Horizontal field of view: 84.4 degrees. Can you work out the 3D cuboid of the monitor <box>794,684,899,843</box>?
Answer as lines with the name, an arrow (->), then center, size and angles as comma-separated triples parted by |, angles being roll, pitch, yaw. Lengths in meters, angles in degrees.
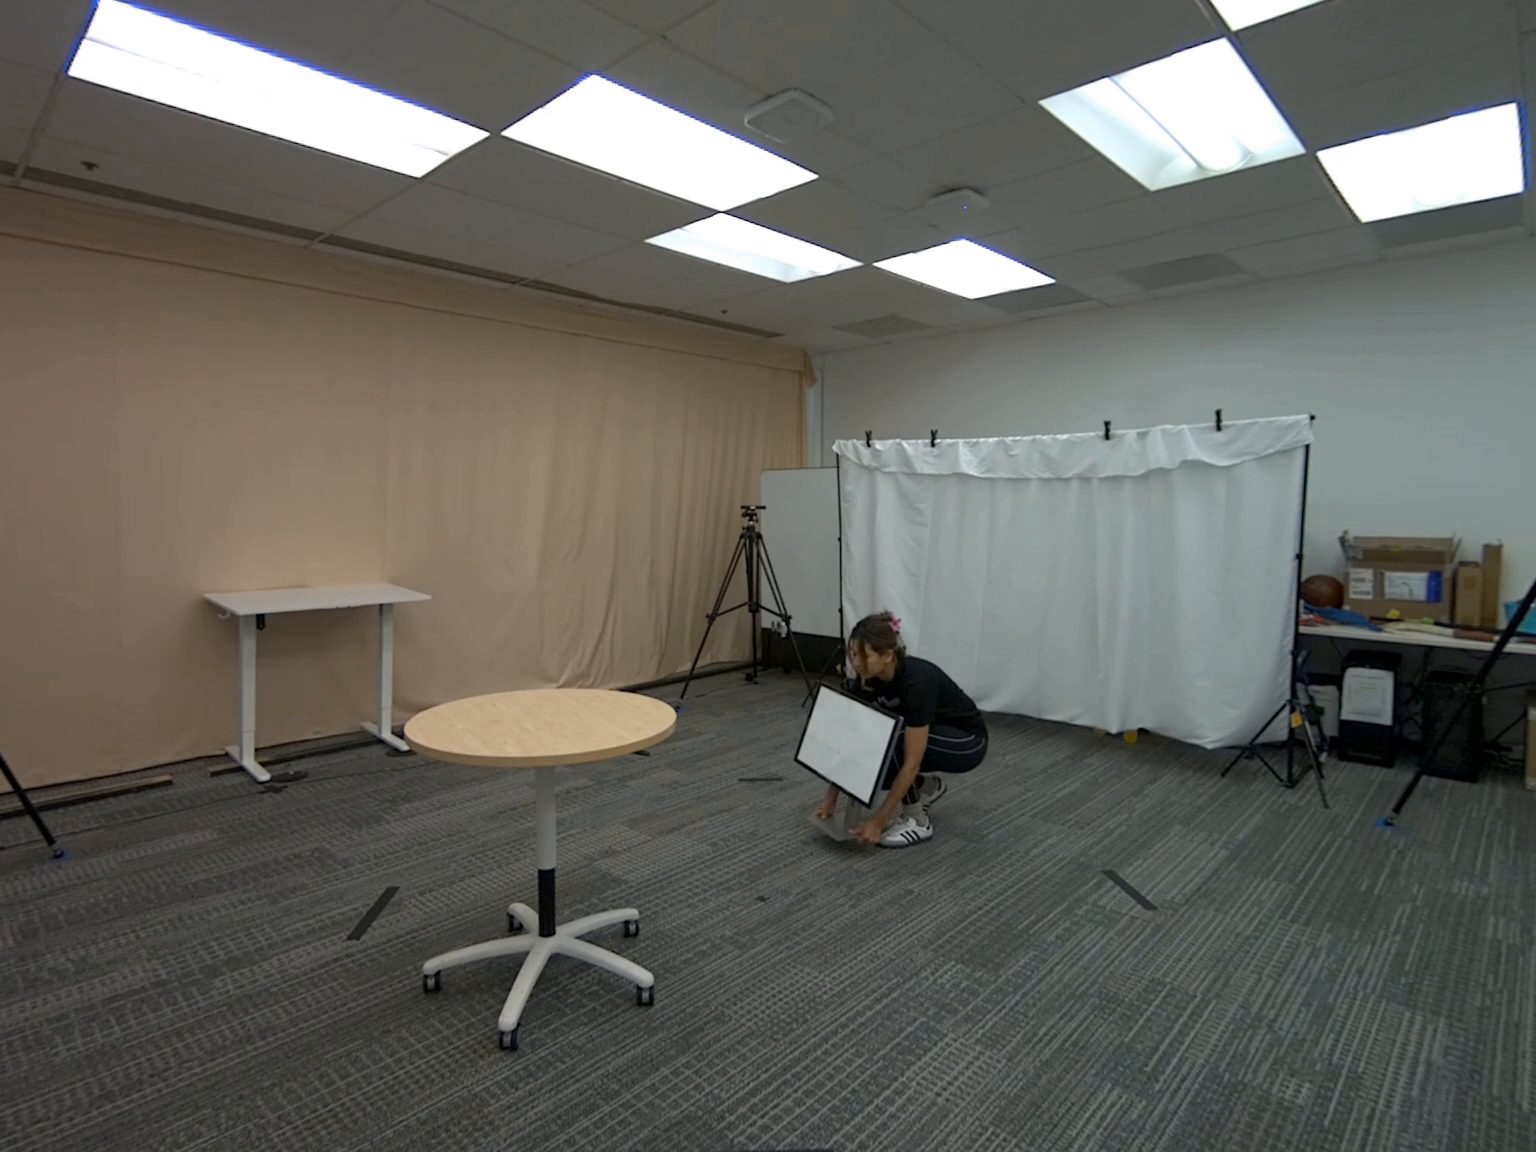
monitor -> 0.332, 0.758, 3.428 | 0.182, 0.522, 0.555 | 5, 4, -31
